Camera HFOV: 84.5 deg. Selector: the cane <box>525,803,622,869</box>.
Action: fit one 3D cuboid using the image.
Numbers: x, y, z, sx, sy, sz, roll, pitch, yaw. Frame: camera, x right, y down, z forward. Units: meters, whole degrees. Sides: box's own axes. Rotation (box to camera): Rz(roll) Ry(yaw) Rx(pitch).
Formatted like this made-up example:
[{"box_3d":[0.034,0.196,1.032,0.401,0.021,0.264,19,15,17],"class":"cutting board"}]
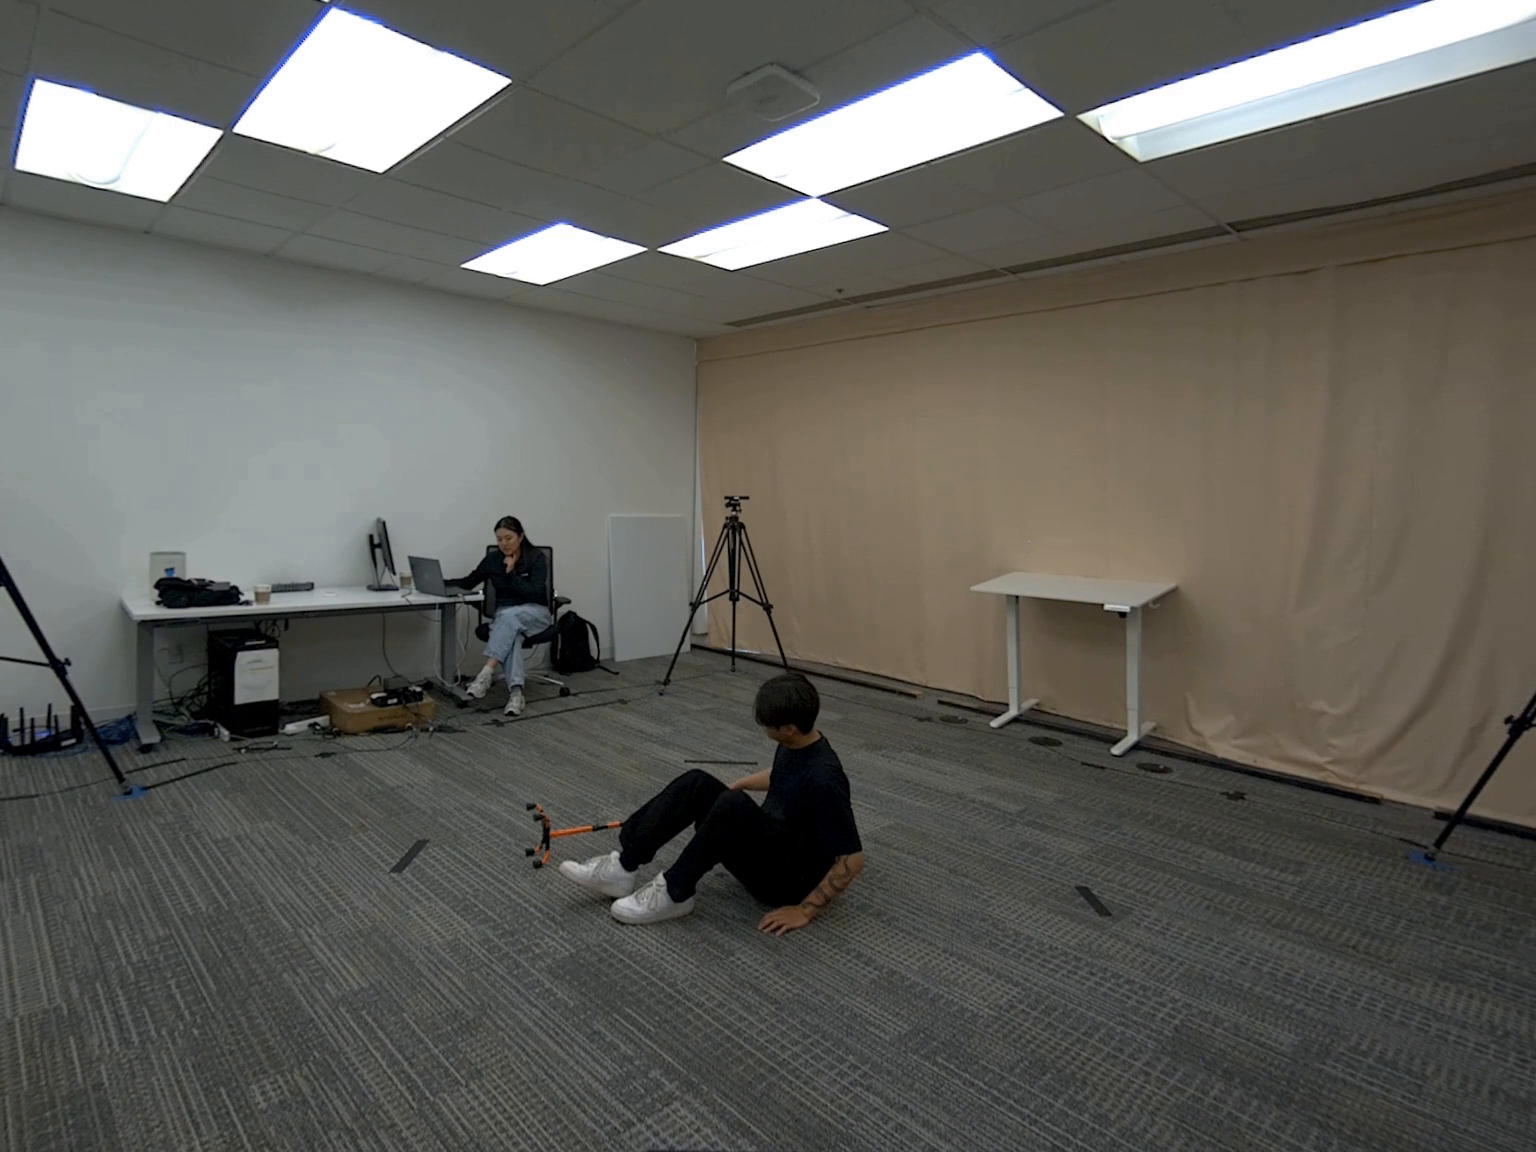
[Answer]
[{"box_3d":[-0.505,0.959,3.375,0.891,0.206,0.154,-1,2,-26],"class":"cane"}]
